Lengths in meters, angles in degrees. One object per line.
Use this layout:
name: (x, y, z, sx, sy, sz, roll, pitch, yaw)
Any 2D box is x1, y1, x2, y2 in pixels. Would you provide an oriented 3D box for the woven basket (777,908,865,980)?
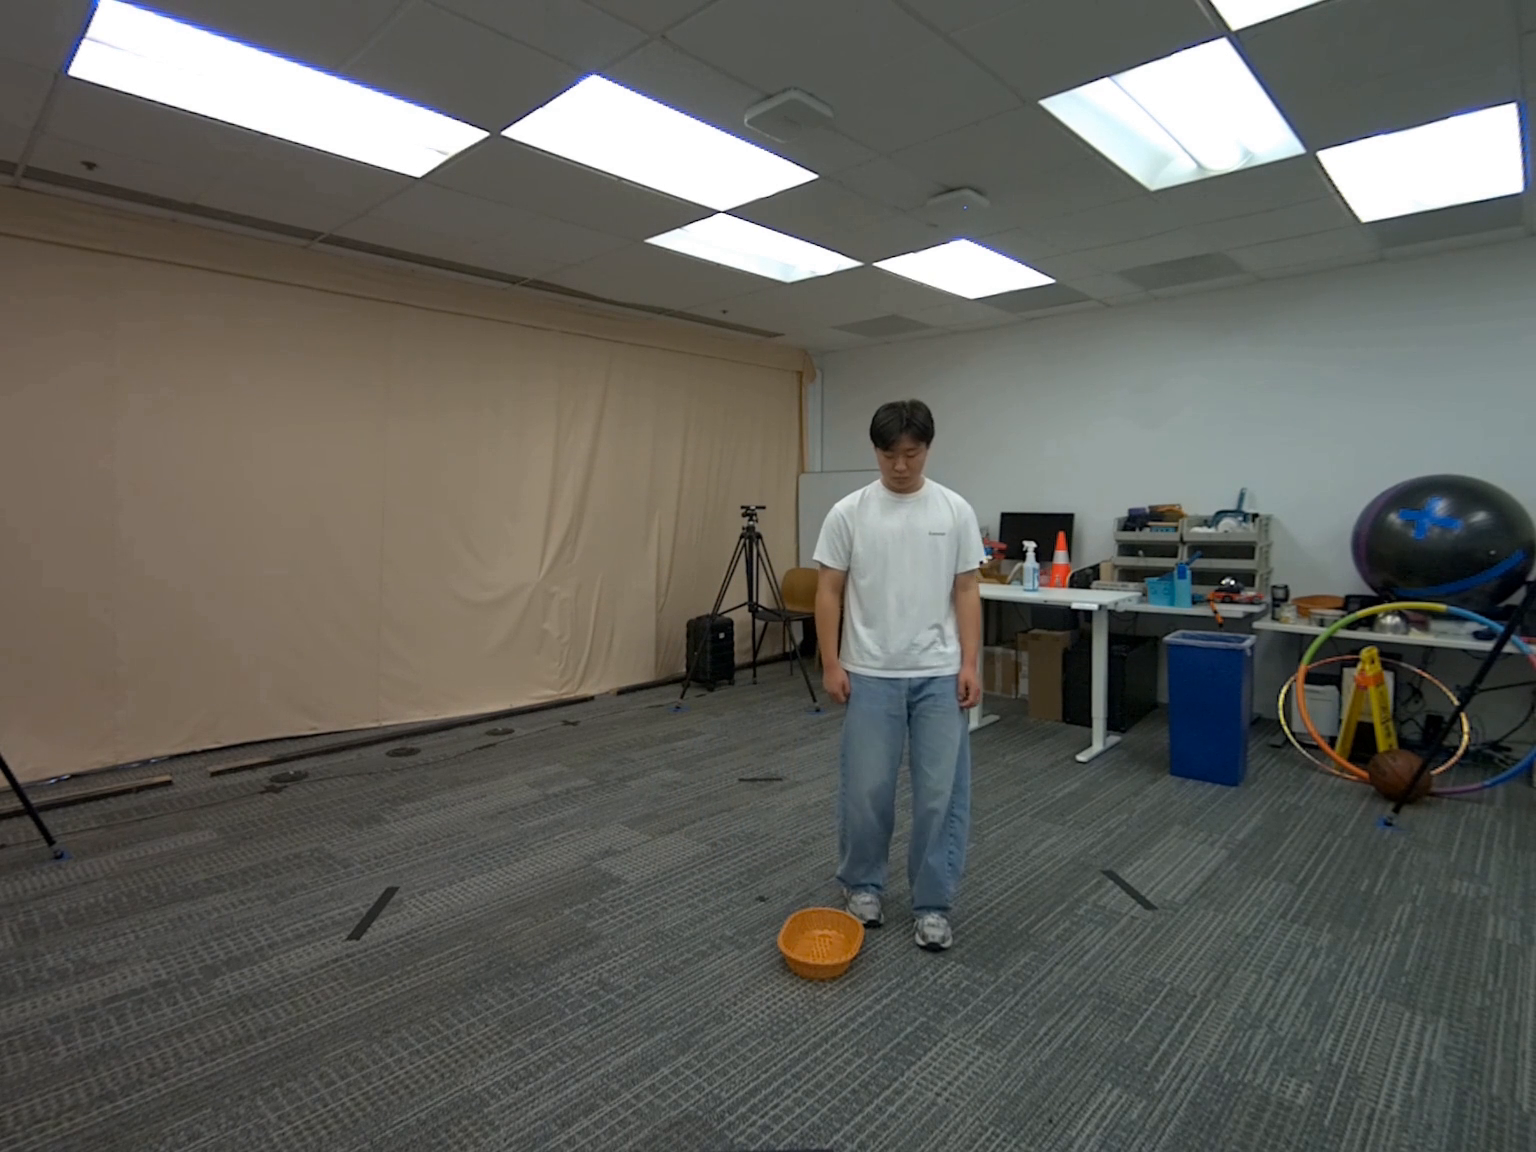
woven basket: (0.167, 1.137, 2.603, 0.257, 0.073, 0.344, 1, 4, 17)
